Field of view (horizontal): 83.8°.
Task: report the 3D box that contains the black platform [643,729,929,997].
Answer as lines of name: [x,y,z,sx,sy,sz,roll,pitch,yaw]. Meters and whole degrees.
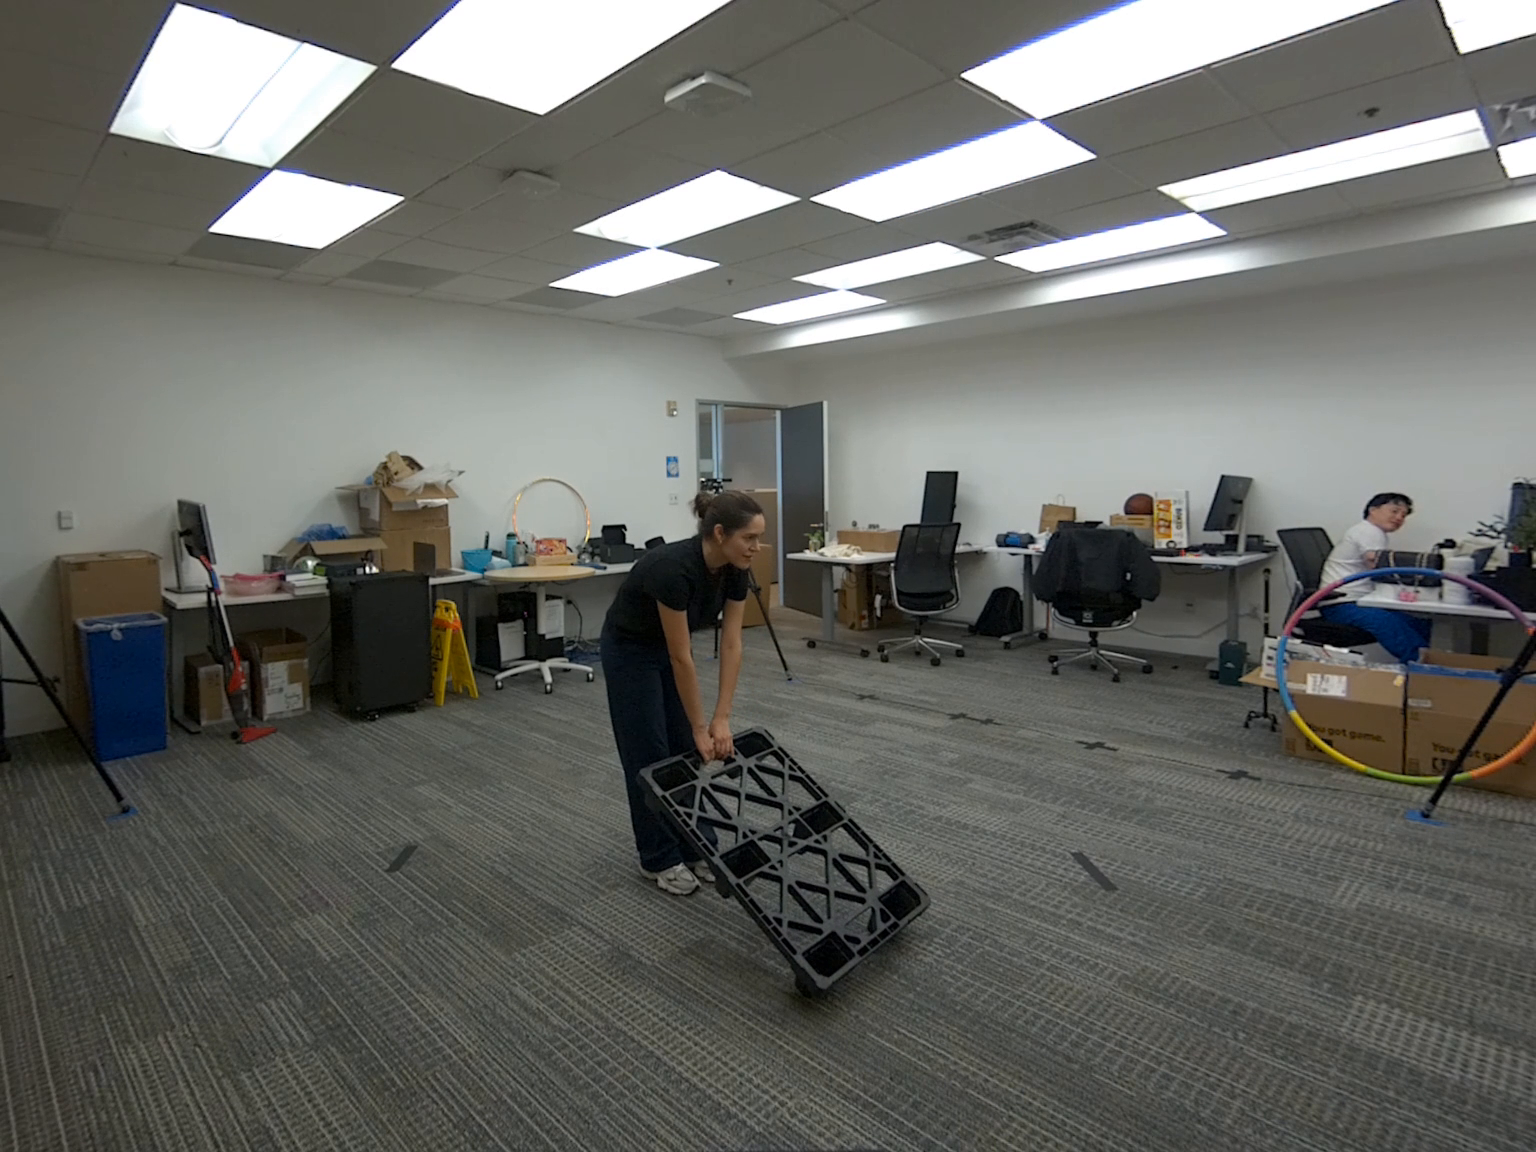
black platform: [0.033,0.844,2.654,0.834,0.142,0.589,41,29,30]
